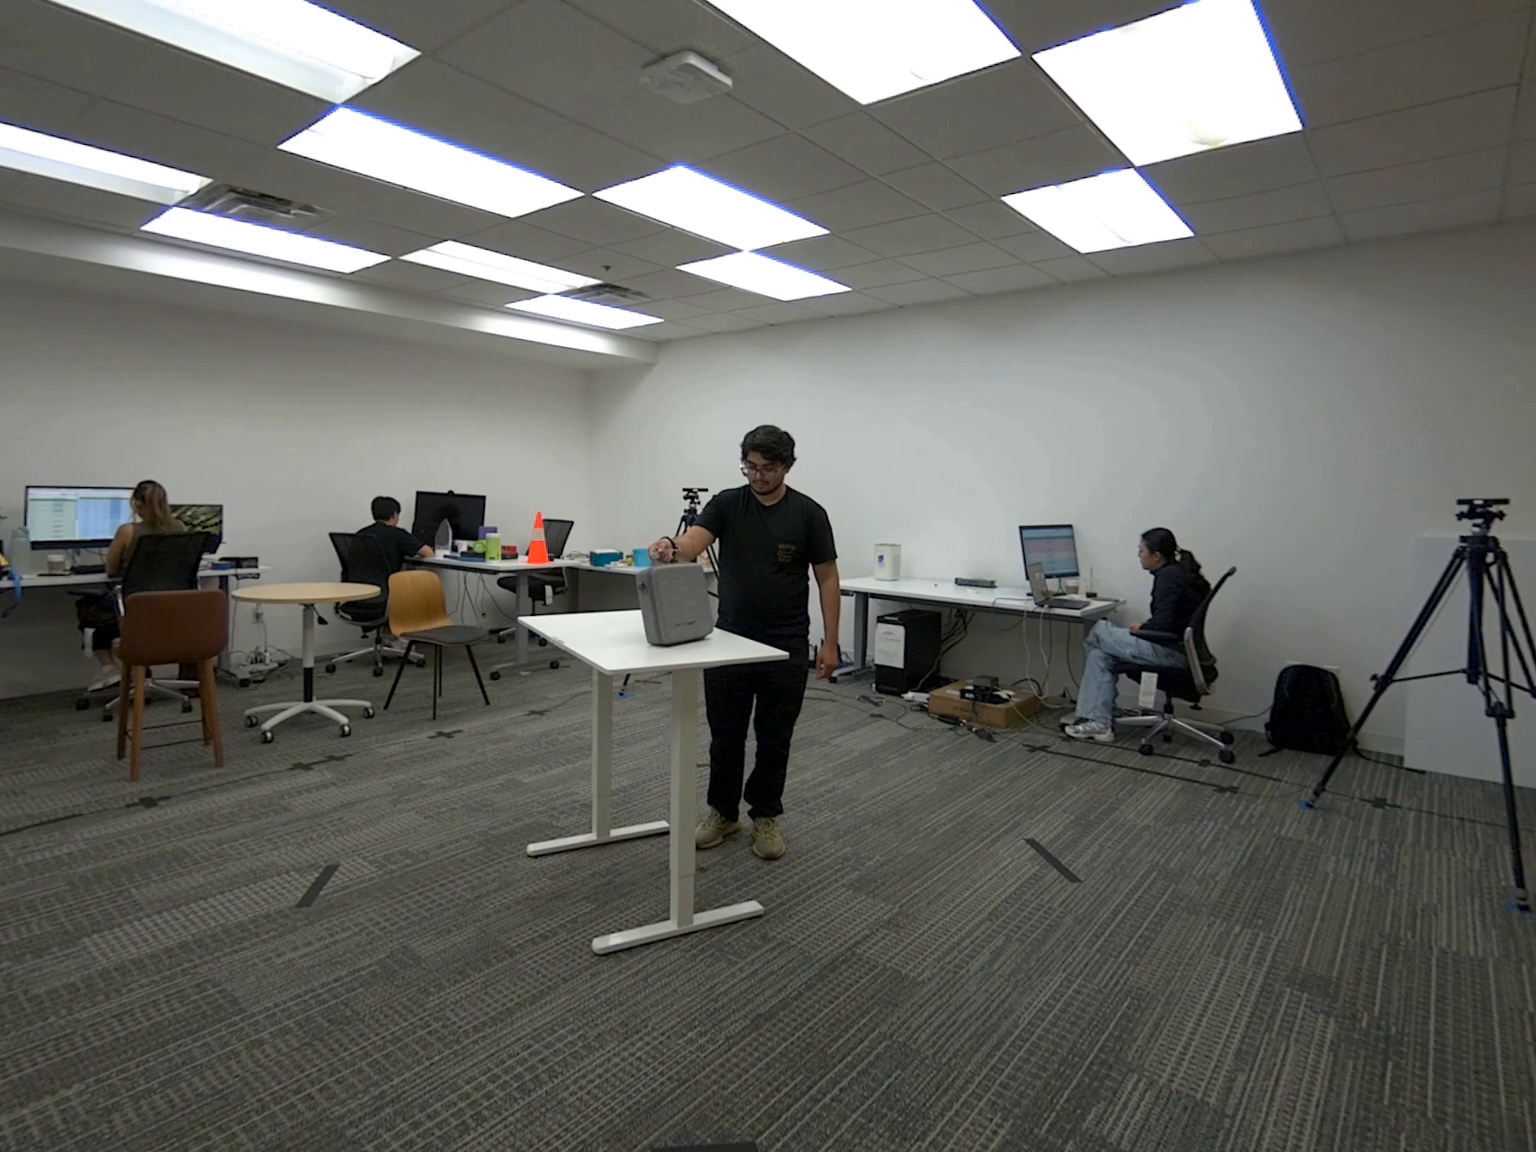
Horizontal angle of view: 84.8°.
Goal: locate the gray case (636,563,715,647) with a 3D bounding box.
[{"bbox_3d":[-0.314,0.084,2.818,0.107,0.262,0.249,-12,-5,36],"label":"gray case"}]
